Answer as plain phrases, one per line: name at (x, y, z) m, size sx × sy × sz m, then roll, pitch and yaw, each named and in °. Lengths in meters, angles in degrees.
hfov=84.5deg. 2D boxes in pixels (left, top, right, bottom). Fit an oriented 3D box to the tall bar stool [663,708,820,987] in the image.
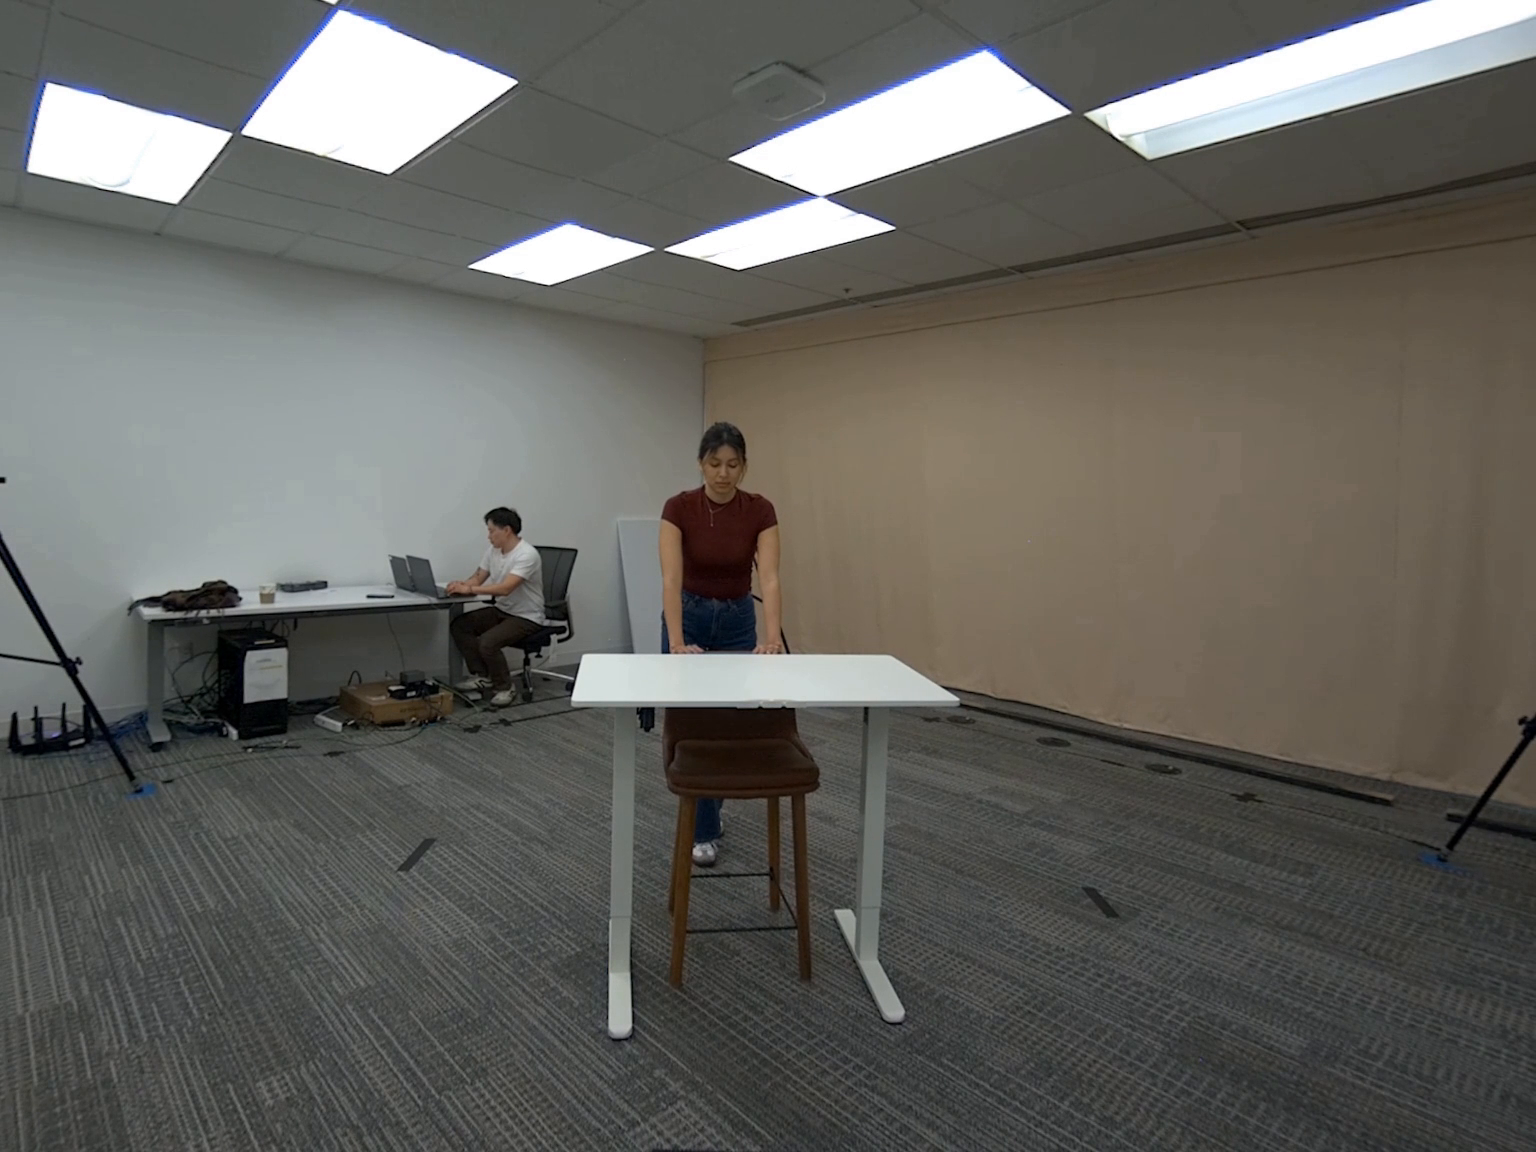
tall bar stool at (-0.109, 0.720, 2.608) m, size 0.454 × 0.888 × 0.471 m, roll 0°, pitch 2°, yaw -8°
